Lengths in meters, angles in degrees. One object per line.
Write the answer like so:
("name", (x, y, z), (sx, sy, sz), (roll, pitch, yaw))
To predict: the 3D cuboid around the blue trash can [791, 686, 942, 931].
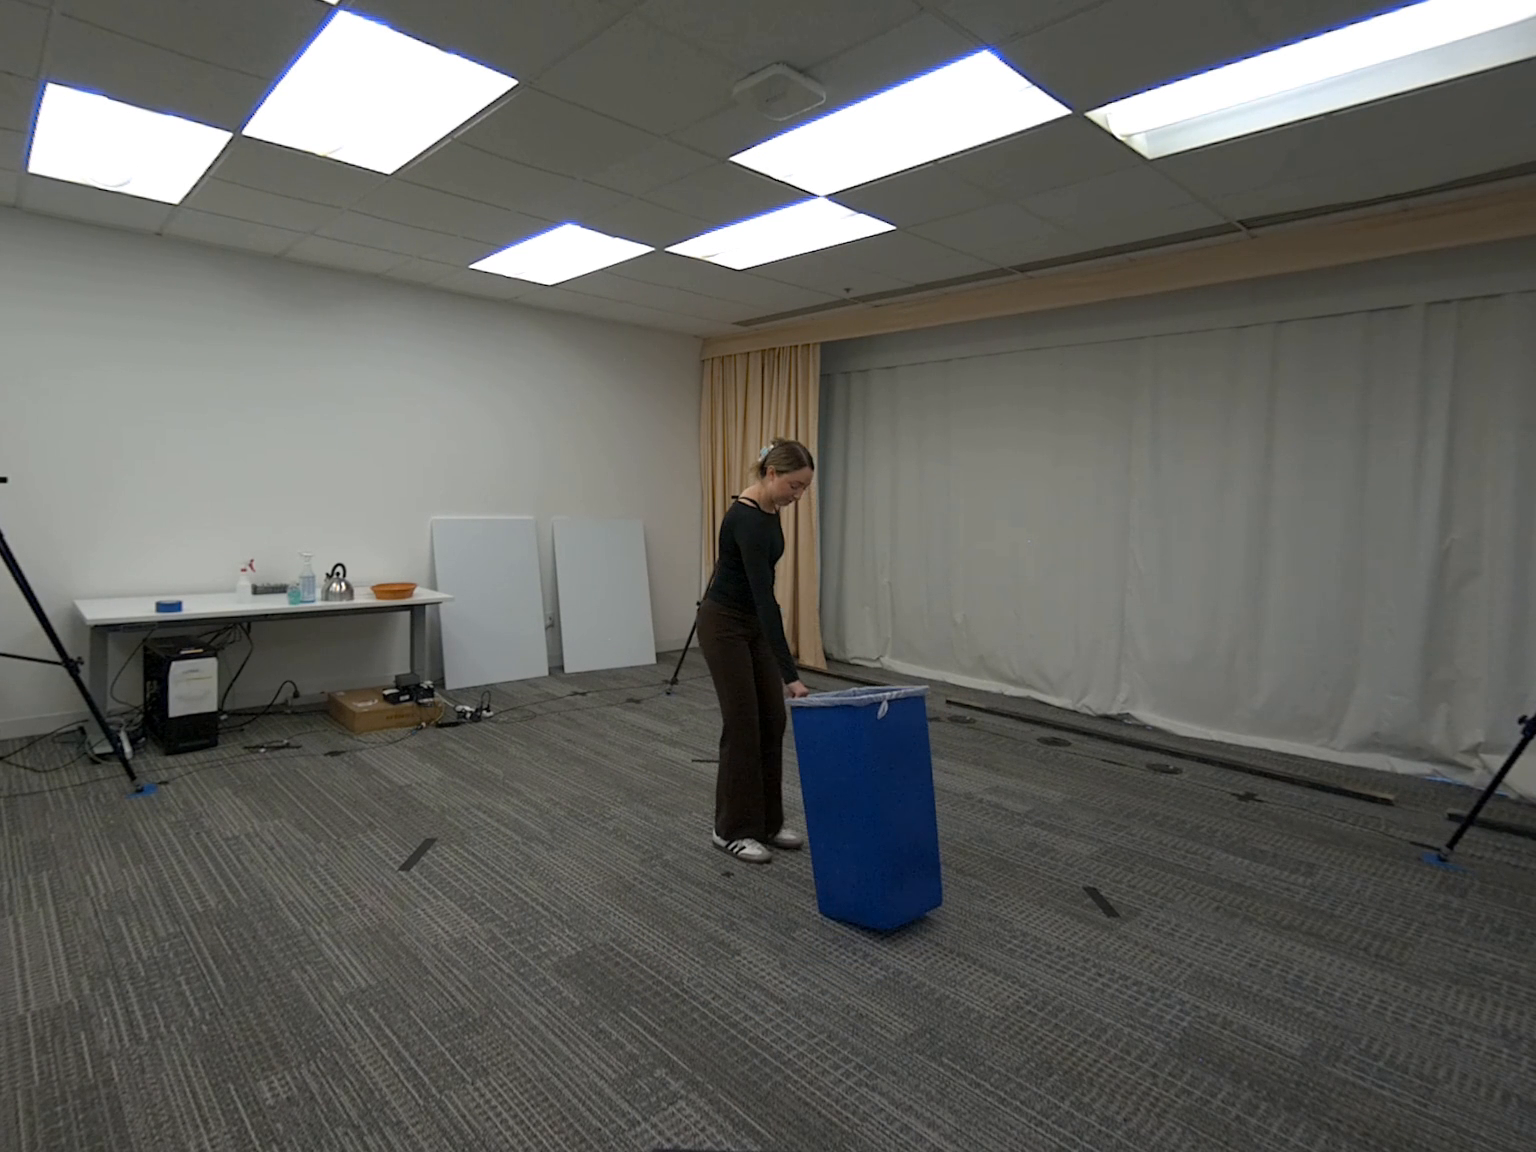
("blue trash can", (0.322, 0.757, 2.842), (0.369, 0.717, 0.381), (1, -8, -41))
